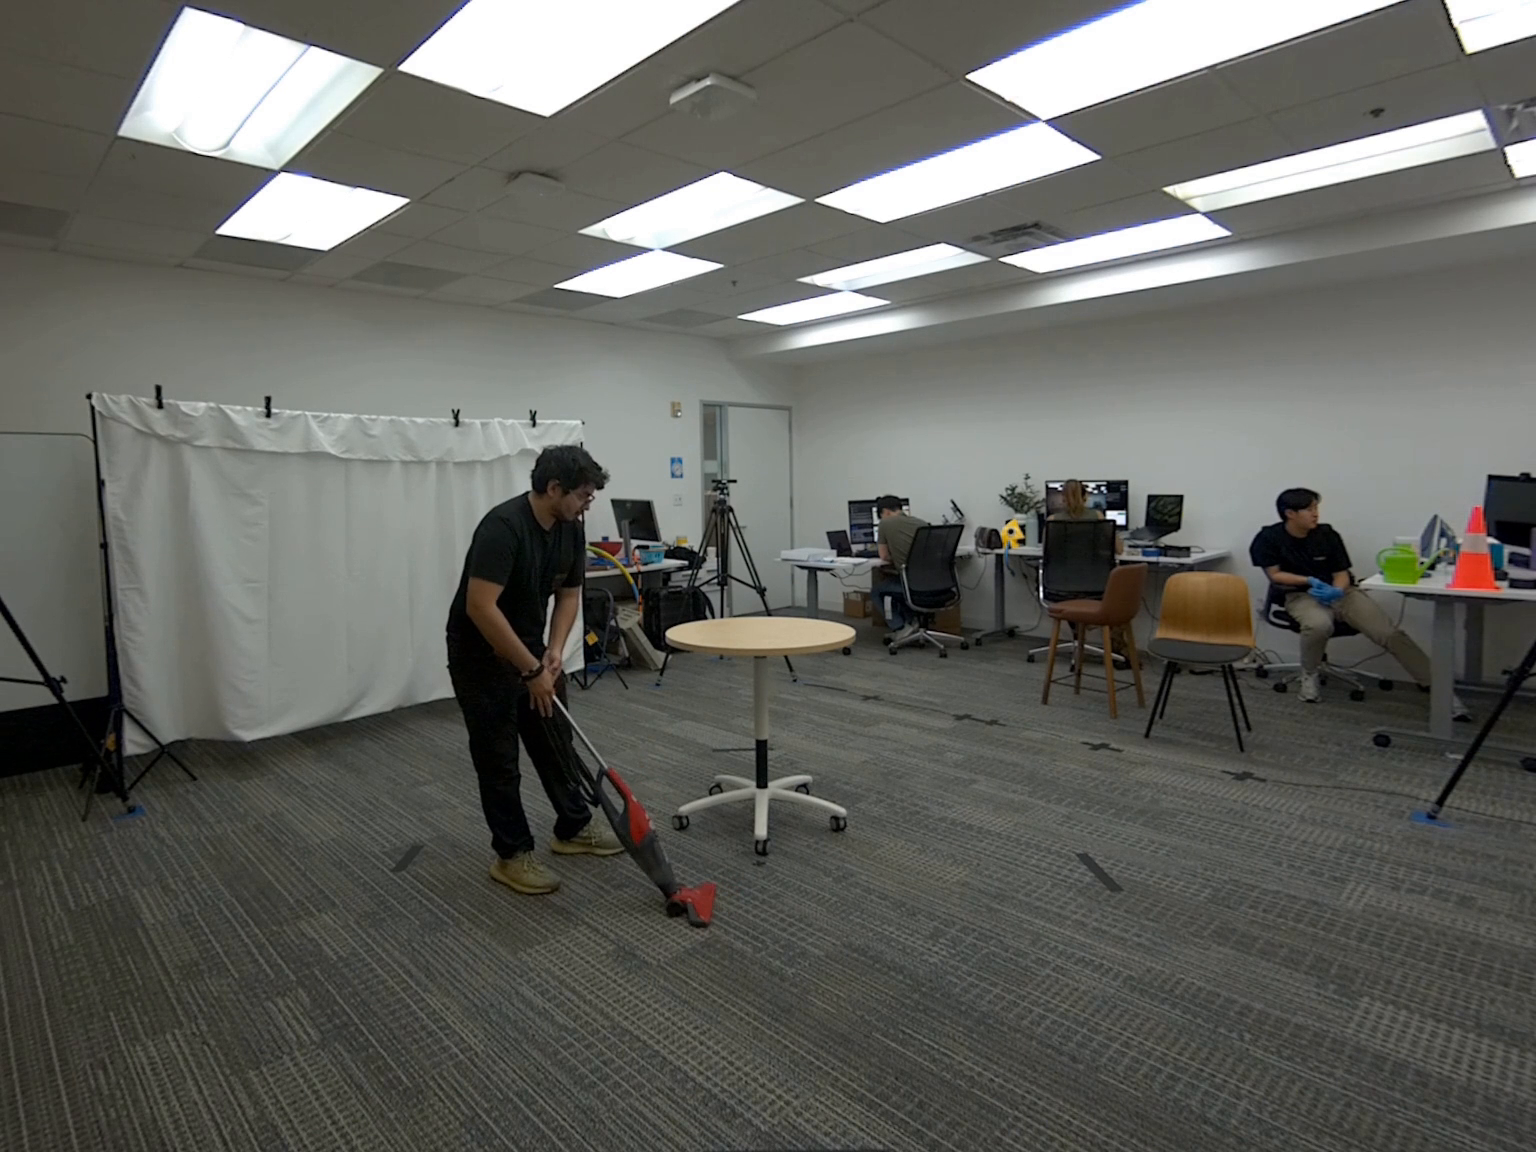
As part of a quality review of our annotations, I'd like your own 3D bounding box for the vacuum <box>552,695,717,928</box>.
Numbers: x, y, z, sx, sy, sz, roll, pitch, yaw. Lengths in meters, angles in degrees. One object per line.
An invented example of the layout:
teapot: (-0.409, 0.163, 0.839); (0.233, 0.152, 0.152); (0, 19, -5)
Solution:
vacuum: (-0.558, 0.657, 2.803); (0.144, 1.051, 0.252); (-38, -1, 2)
